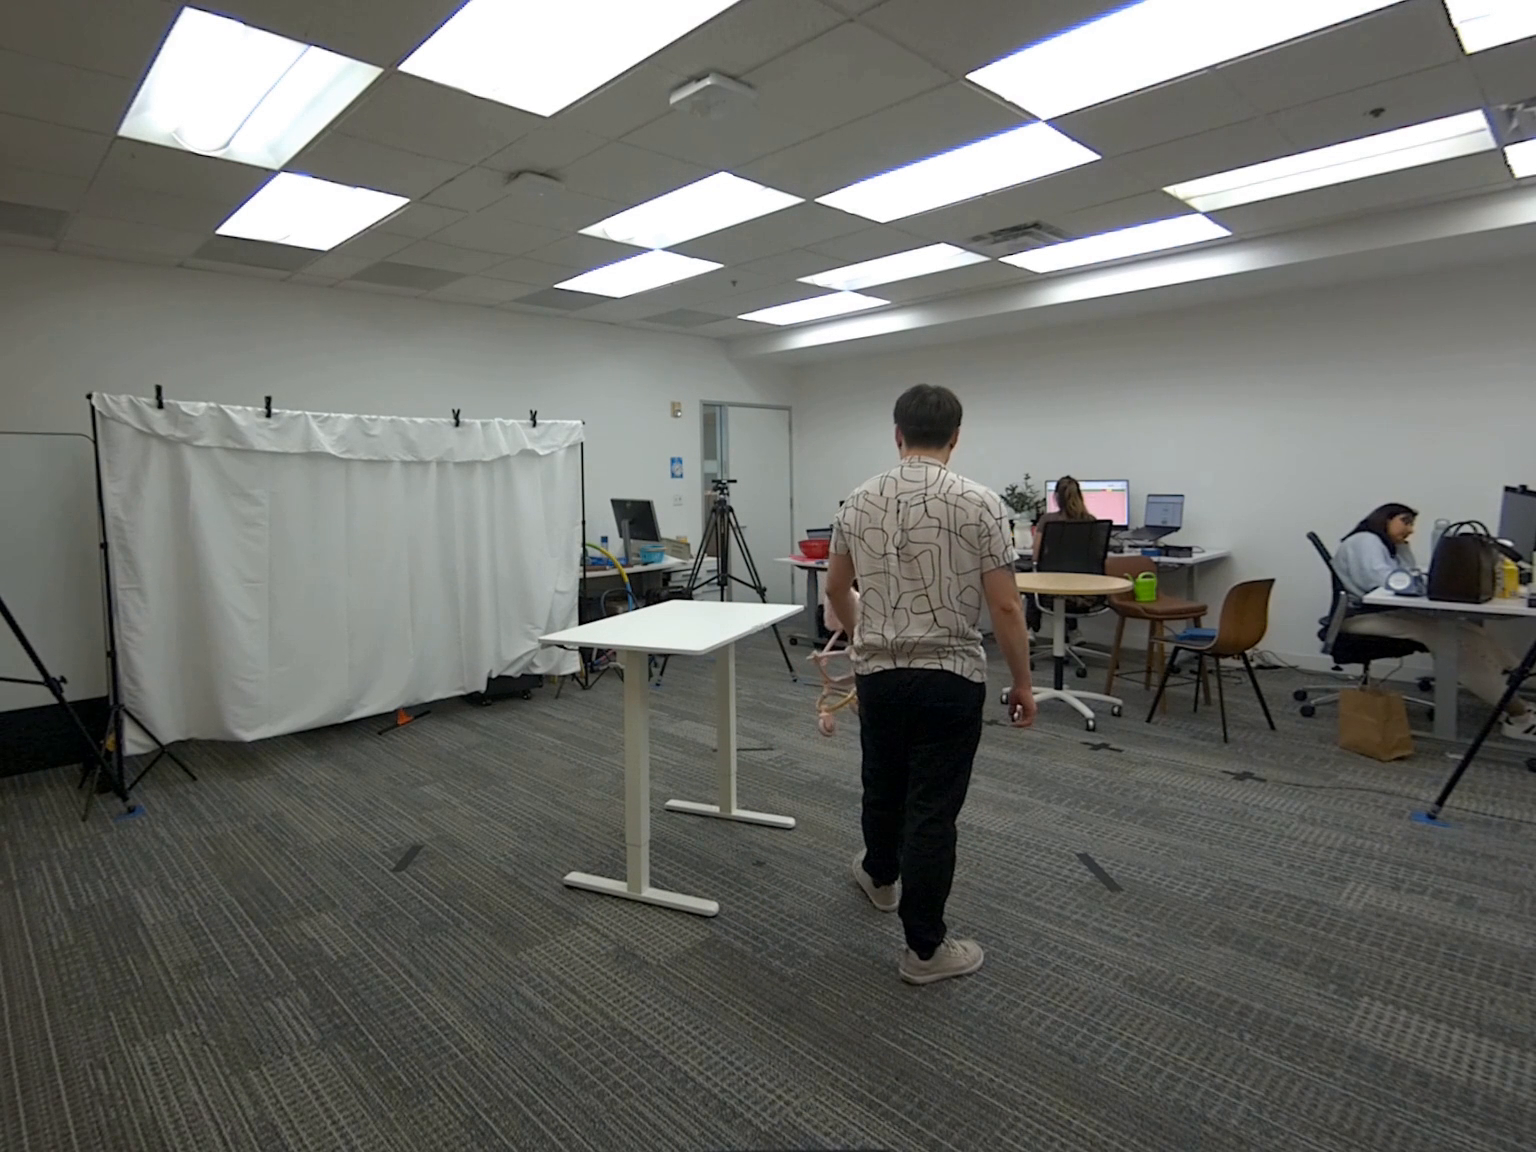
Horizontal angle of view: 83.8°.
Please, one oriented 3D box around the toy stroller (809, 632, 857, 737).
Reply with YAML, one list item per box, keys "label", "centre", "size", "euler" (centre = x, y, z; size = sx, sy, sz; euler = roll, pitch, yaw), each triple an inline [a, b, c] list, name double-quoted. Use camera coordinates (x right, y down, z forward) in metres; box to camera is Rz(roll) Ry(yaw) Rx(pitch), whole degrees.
- label: "toy stroller"
  centre: [0.292, 0.264, 2.918]
  size: [0.334, 0.541, 0.284]
  euler: [3, -13, -24]
